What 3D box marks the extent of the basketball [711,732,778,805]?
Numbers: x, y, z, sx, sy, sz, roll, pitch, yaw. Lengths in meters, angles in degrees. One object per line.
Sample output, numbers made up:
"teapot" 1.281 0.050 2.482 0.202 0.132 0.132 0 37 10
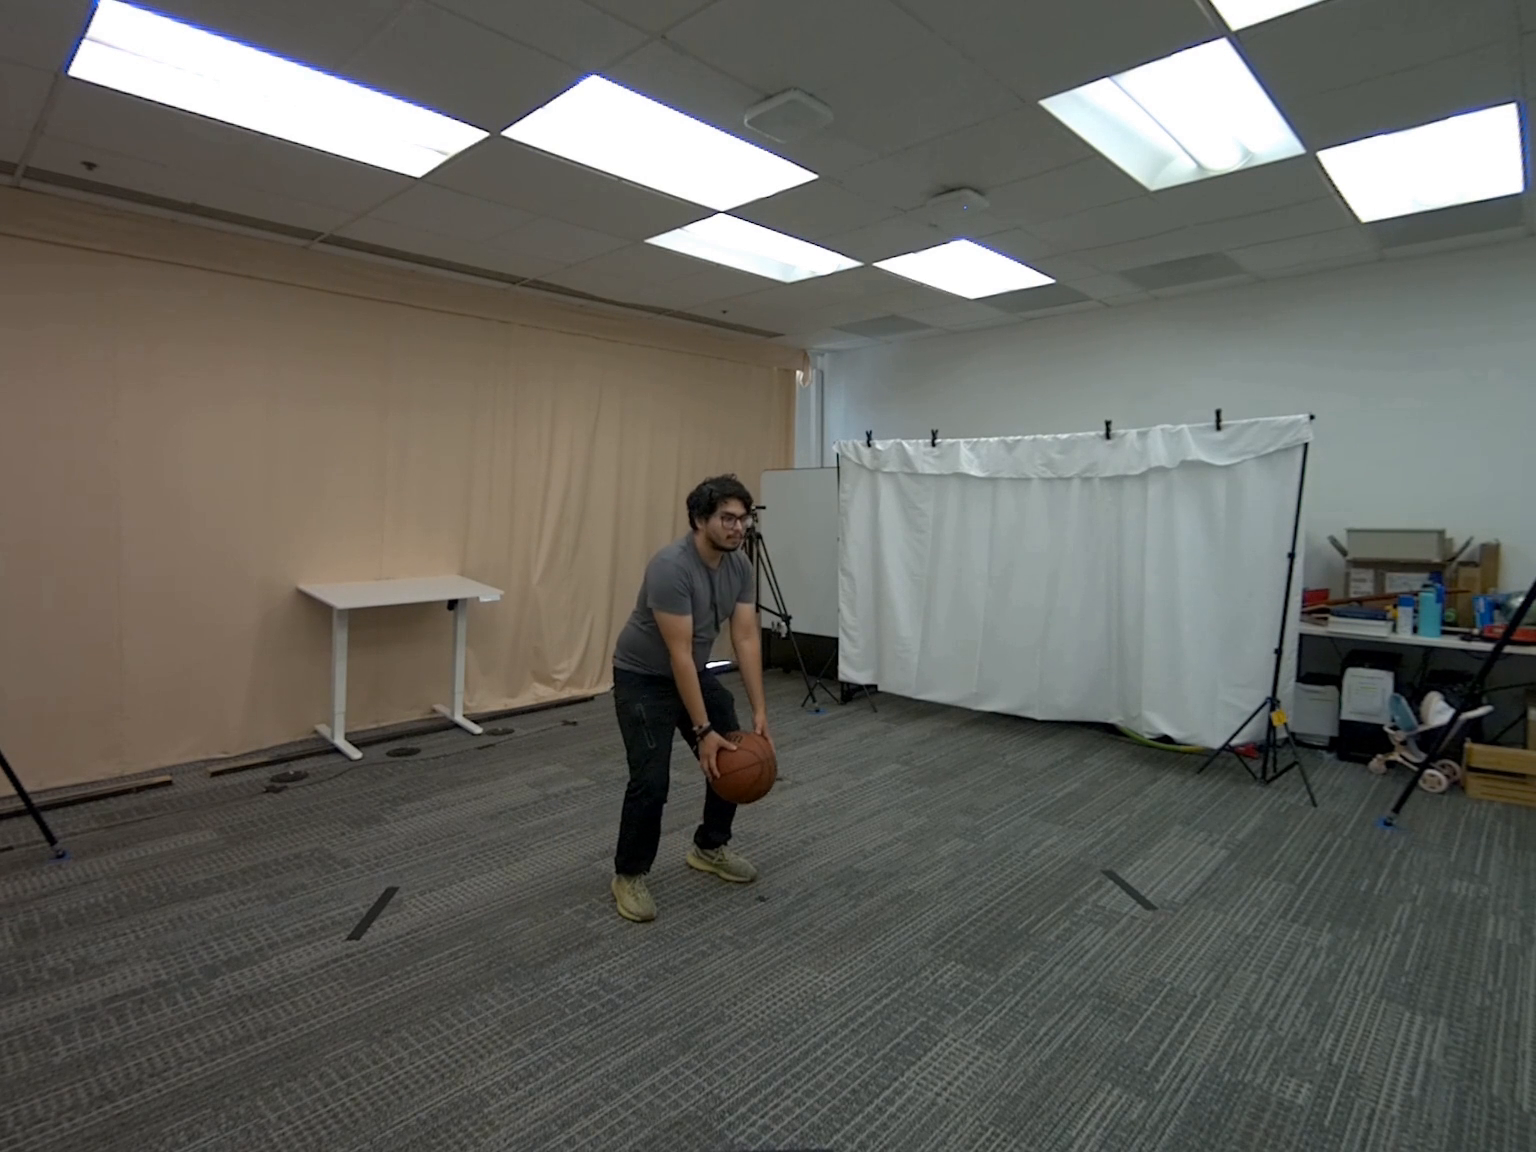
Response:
"basketball" -0.087 0.638 2.812 0.236 0.235 0.237 0 4 -2
